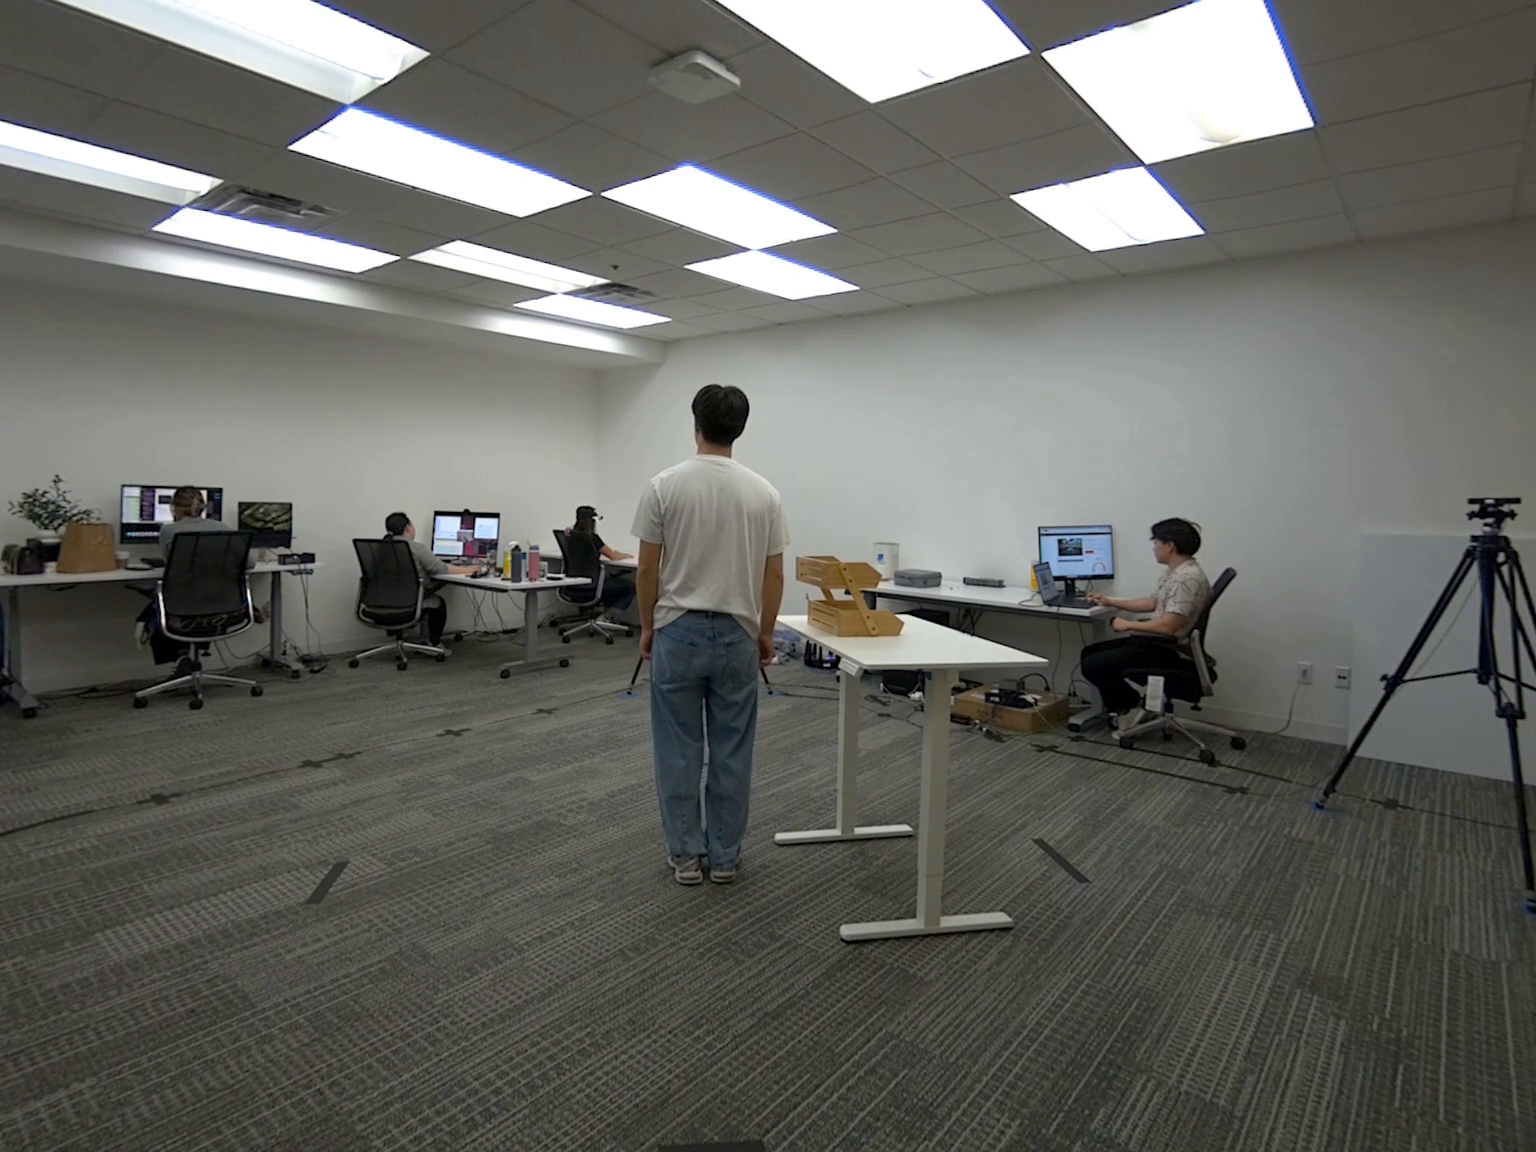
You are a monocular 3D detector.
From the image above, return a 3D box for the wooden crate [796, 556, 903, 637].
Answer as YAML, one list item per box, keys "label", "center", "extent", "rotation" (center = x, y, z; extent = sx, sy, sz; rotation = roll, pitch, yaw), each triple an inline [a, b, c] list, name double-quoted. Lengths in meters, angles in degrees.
- label: "wooden crate"
  center: [0.286, 0.066, 3.100]
  extent: [0.297, 0.272, 0.331]
  rotation: [-1, 4, -17]
